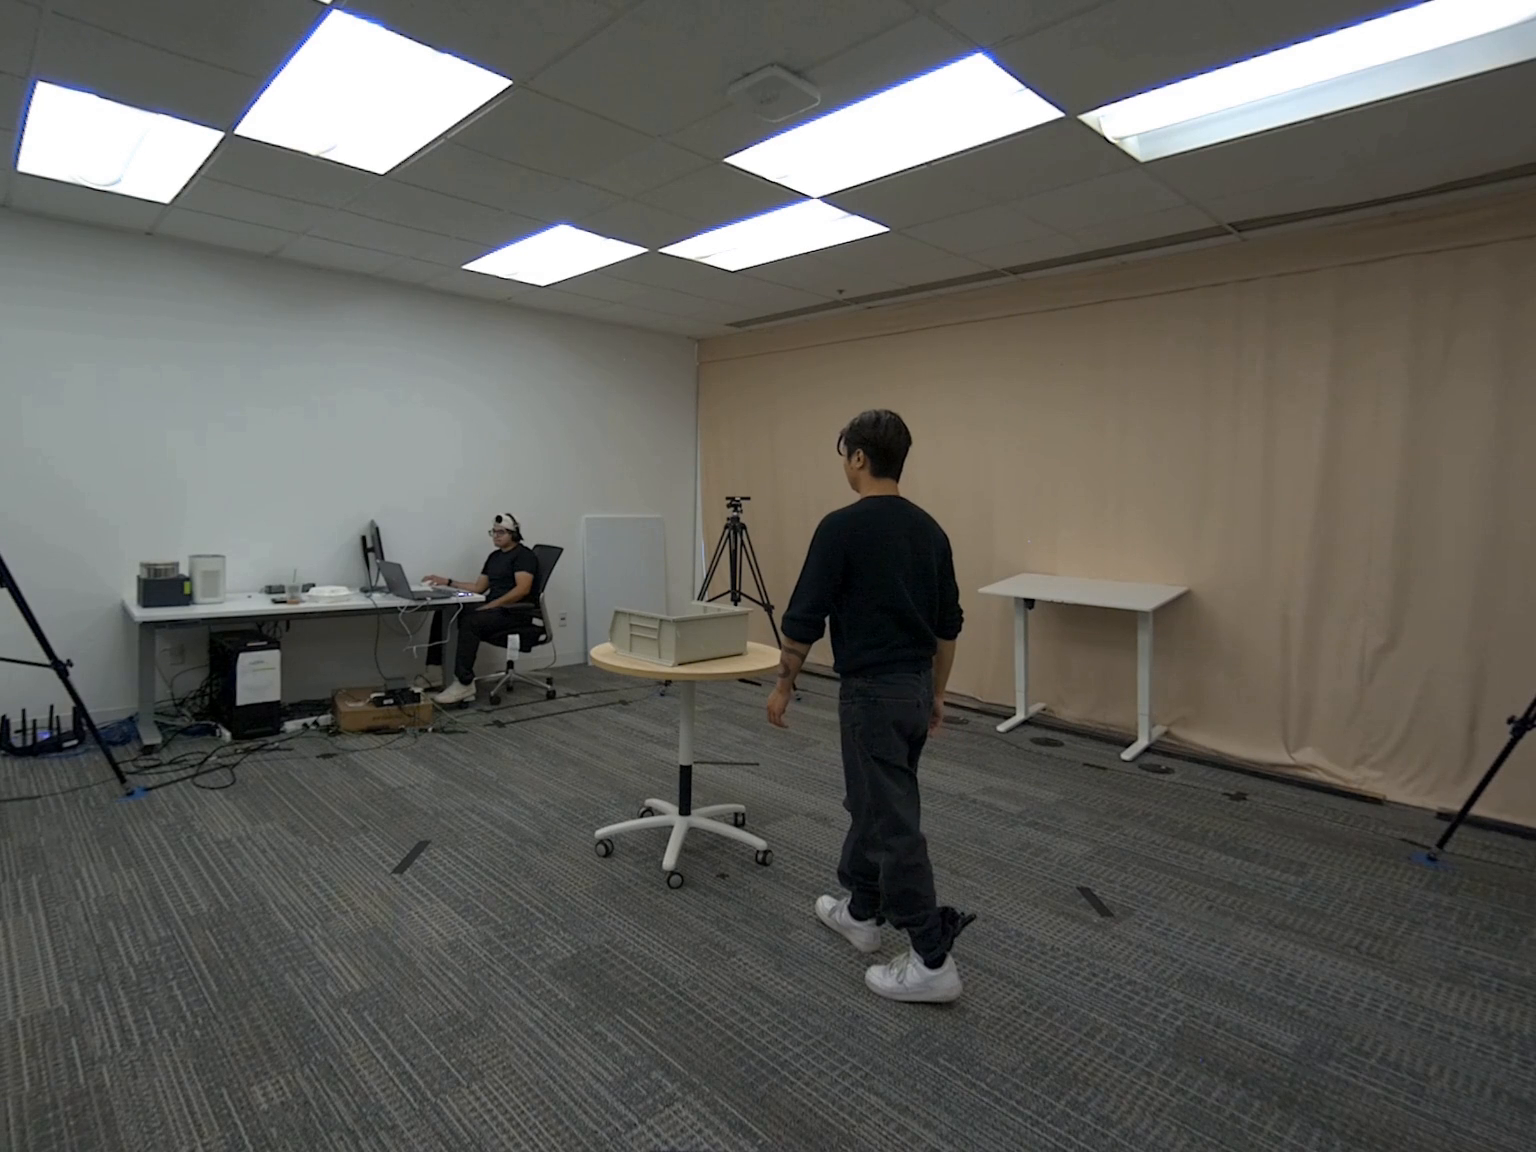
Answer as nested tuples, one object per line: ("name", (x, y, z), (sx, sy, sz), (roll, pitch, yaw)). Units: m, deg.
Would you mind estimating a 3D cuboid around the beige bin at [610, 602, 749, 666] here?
("beige bin", (-0.343, 0.215, 3.262), (0.387, 0.188, 0.413), (8, 7, 41))
